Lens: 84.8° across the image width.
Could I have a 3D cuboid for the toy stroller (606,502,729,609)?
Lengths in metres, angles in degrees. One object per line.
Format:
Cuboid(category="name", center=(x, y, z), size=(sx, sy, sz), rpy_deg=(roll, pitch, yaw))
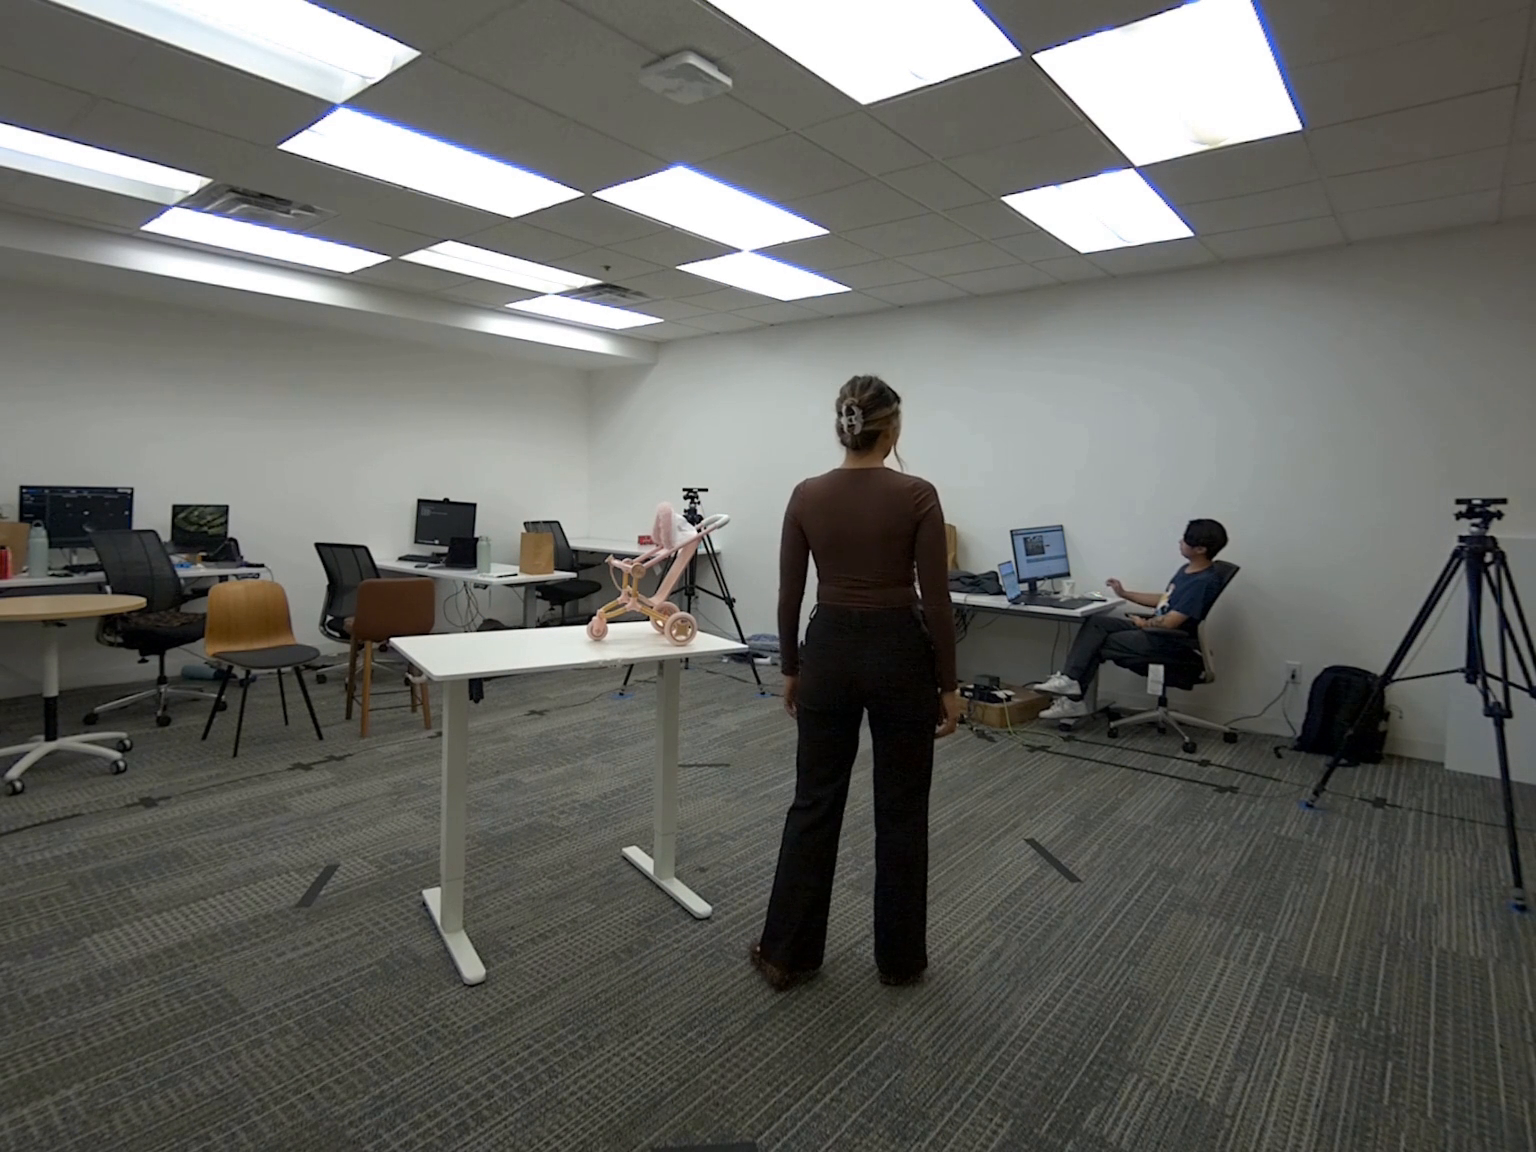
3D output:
Cuboid(category="toy stroller", center=(-0.389, -0.008, 2.842), size=(0.336, 0.535, 0.286), rpy_deg=(19, -1, -13))
